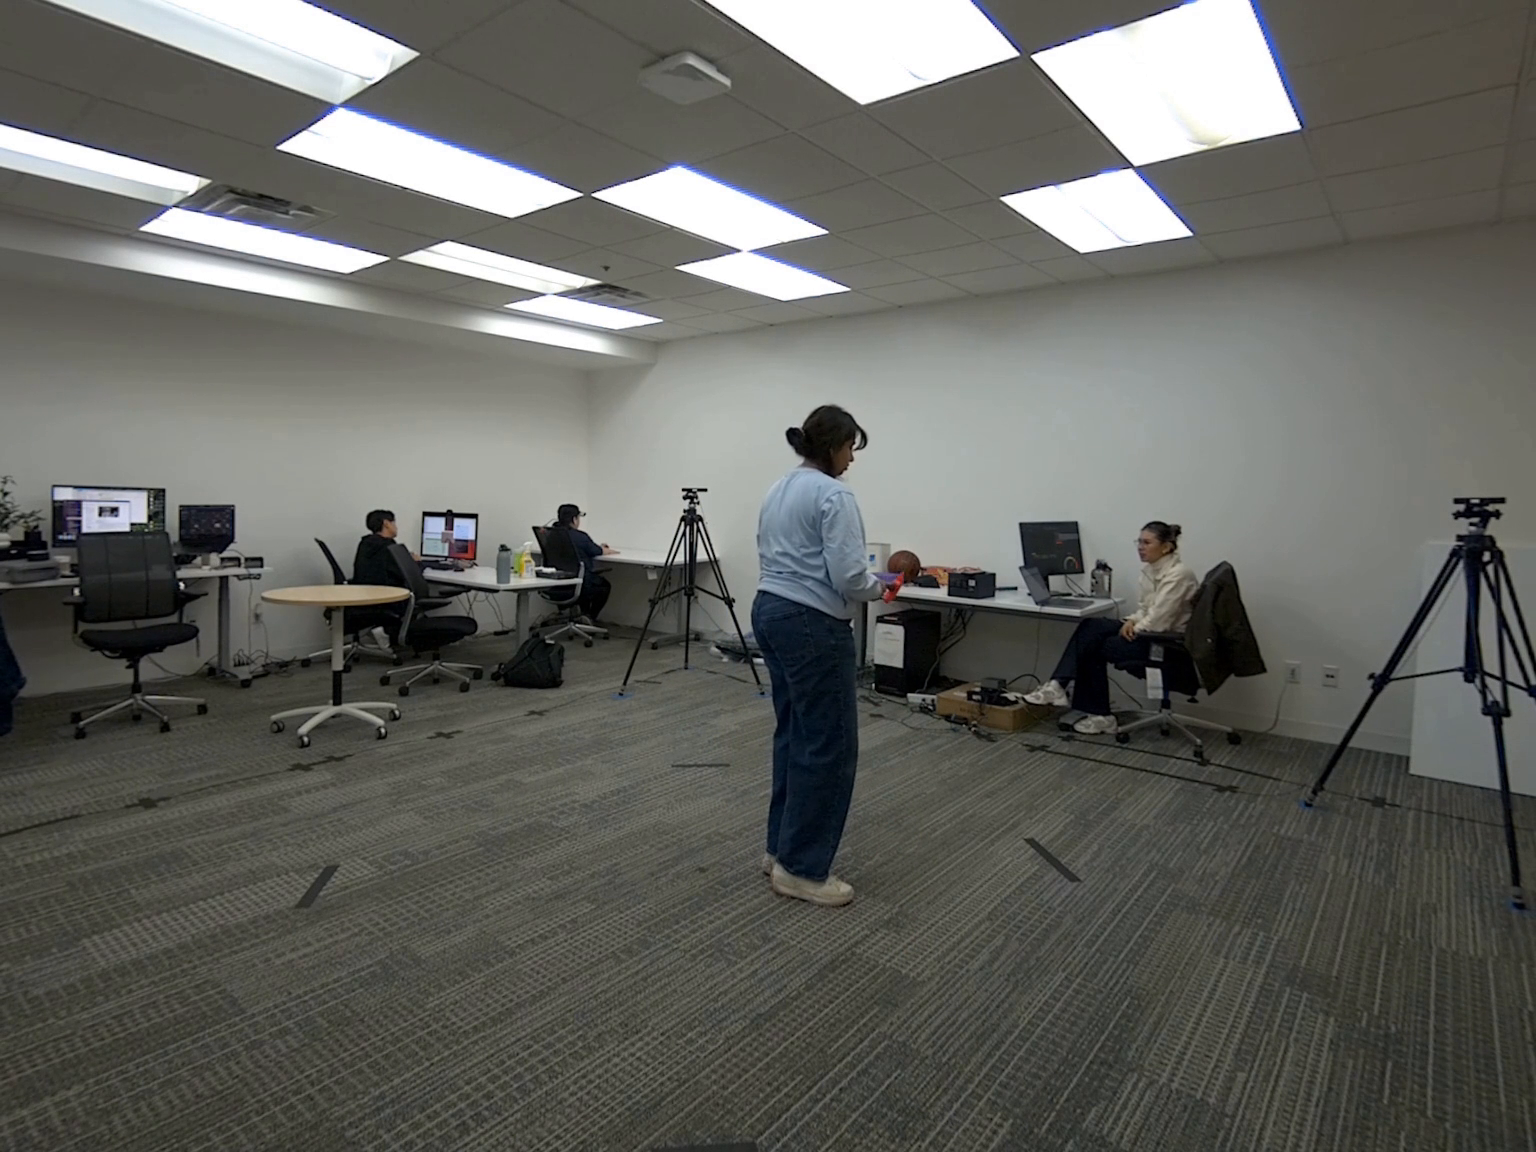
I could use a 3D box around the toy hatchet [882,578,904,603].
[{"bbox_3d":[0.411,0.073,3.192,0.031,0.129,0.263,34,32,32],"label":"toy hatchet"}]
